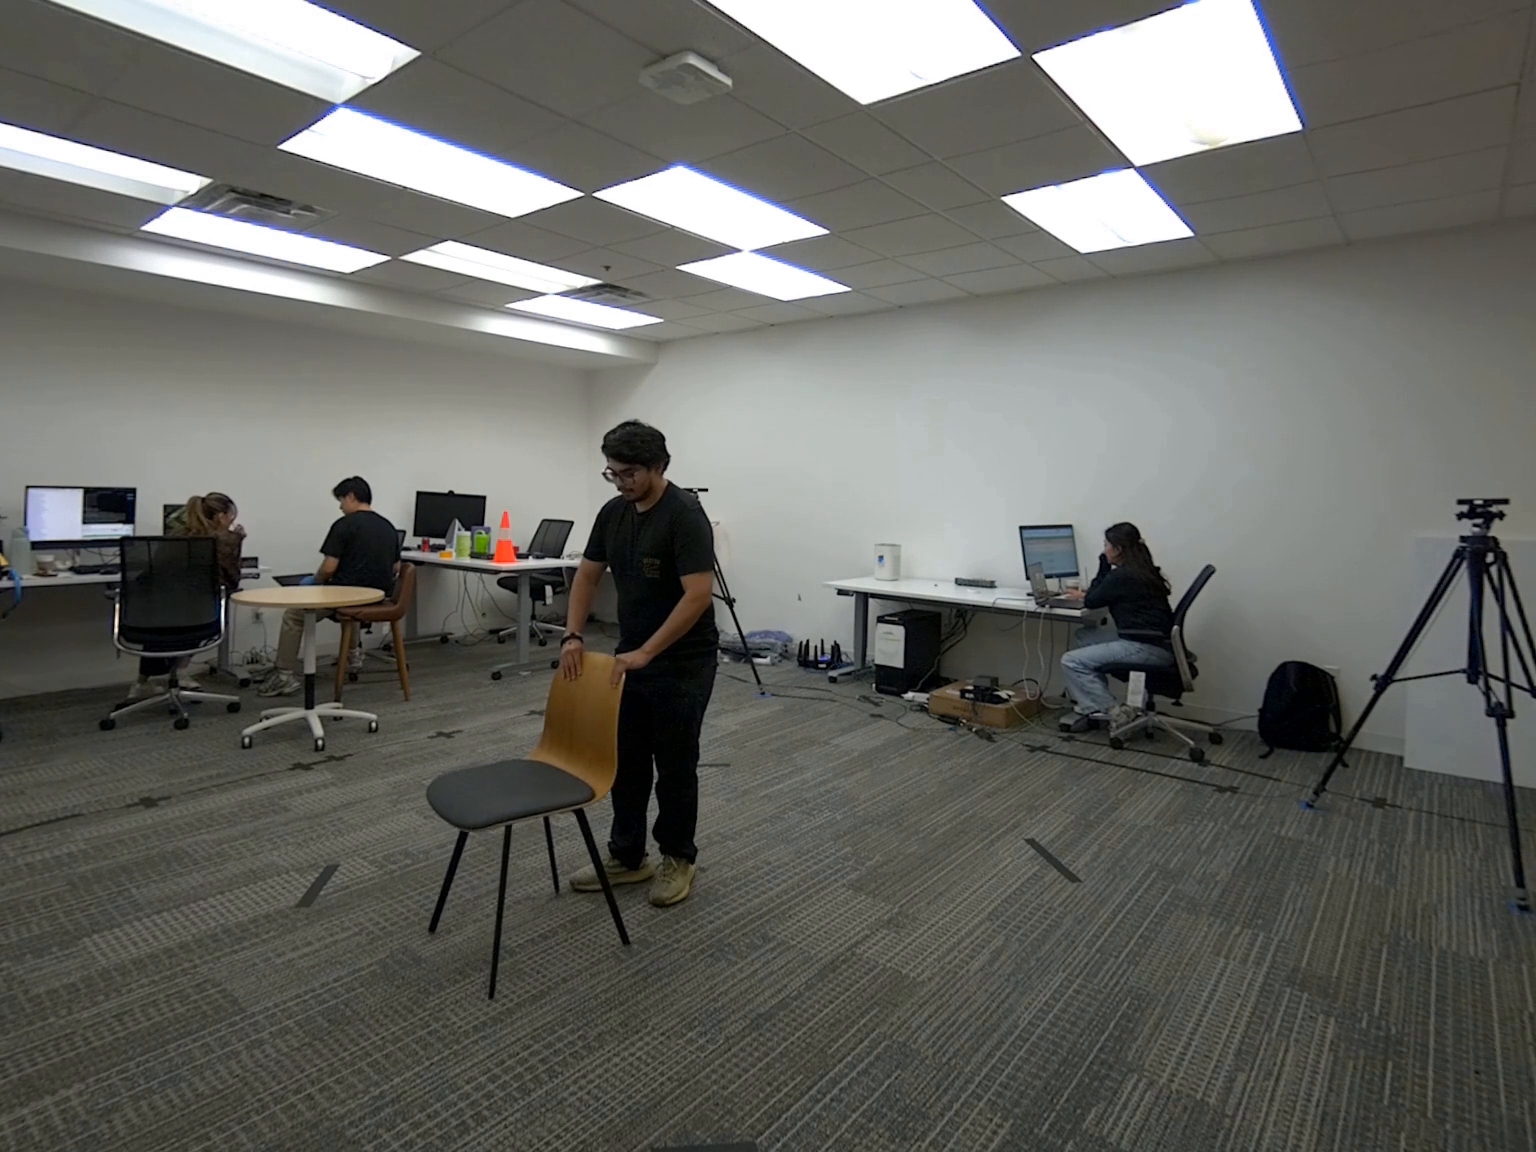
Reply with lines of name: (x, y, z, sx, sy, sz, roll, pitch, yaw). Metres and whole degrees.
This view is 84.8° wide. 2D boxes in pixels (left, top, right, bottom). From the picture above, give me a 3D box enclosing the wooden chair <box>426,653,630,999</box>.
wooden chair: (-0.740, 0.686, 2.579, 0.506, 0.877, 0.494, 4, 1, -41)
